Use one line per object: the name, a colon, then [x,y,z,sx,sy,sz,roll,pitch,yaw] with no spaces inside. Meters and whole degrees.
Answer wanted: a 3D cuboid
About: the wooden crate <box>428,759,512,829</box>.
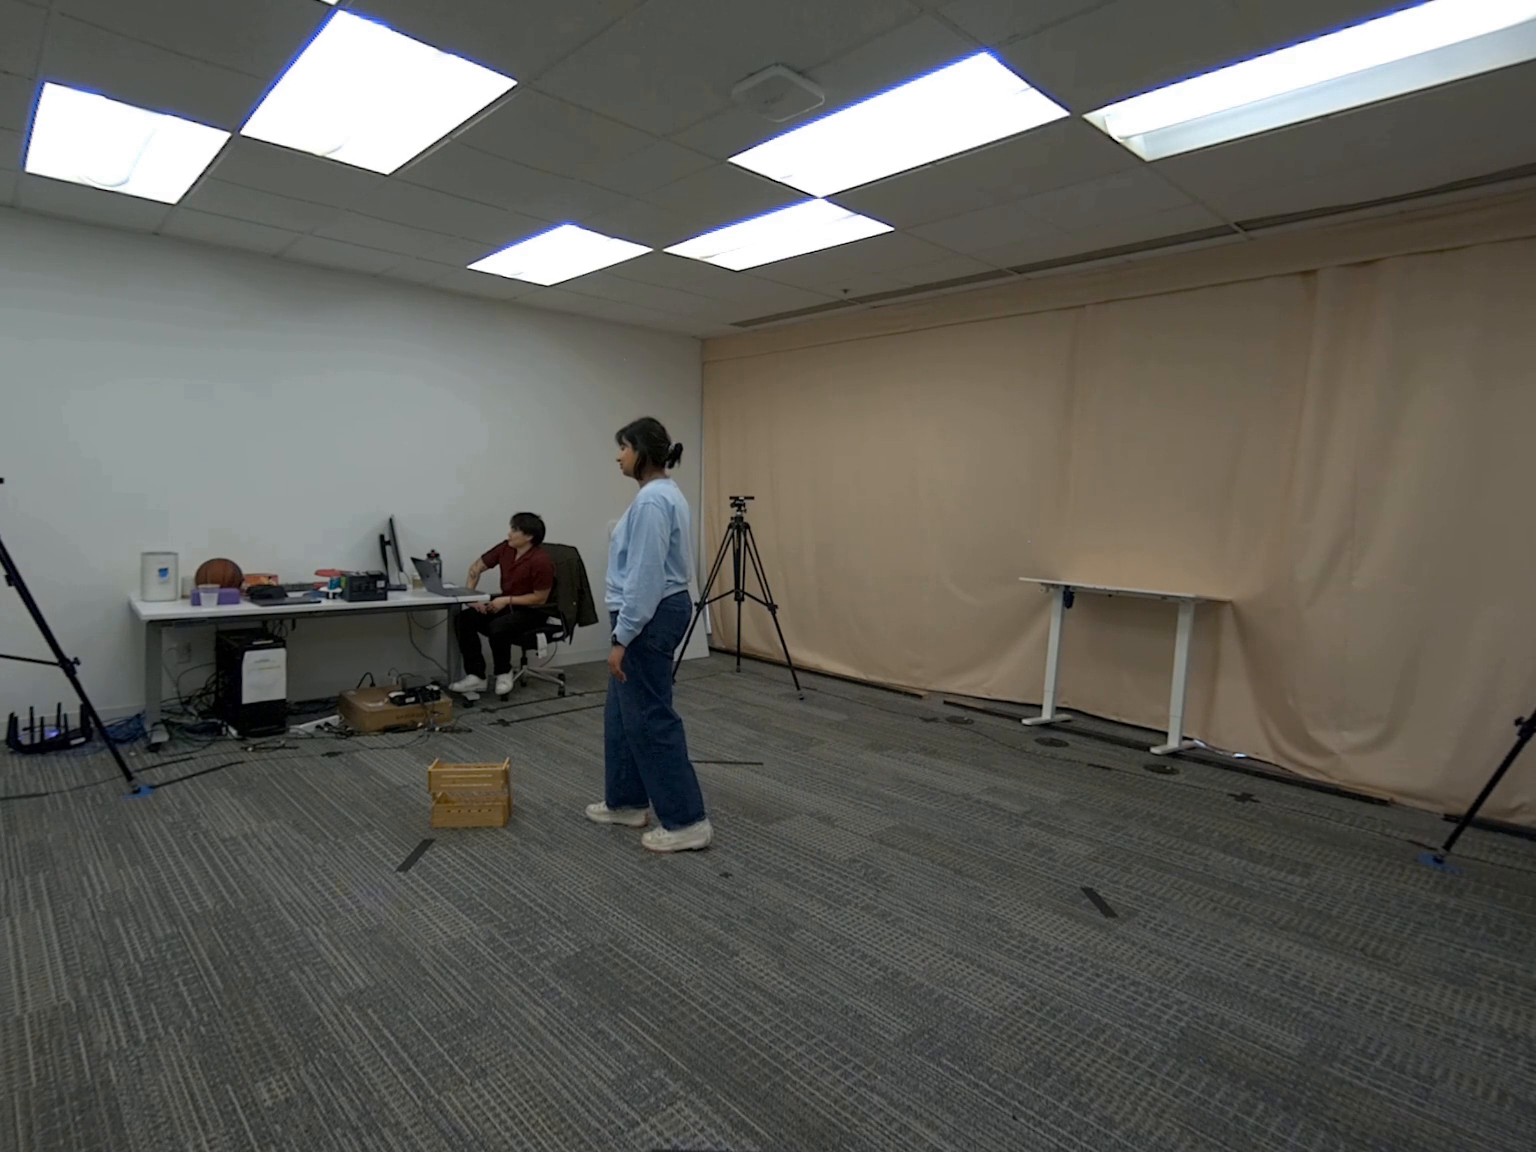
wooden crate: [-1.264,0.897,3.598,0.322,0.272,0.305,1,5,-8]
